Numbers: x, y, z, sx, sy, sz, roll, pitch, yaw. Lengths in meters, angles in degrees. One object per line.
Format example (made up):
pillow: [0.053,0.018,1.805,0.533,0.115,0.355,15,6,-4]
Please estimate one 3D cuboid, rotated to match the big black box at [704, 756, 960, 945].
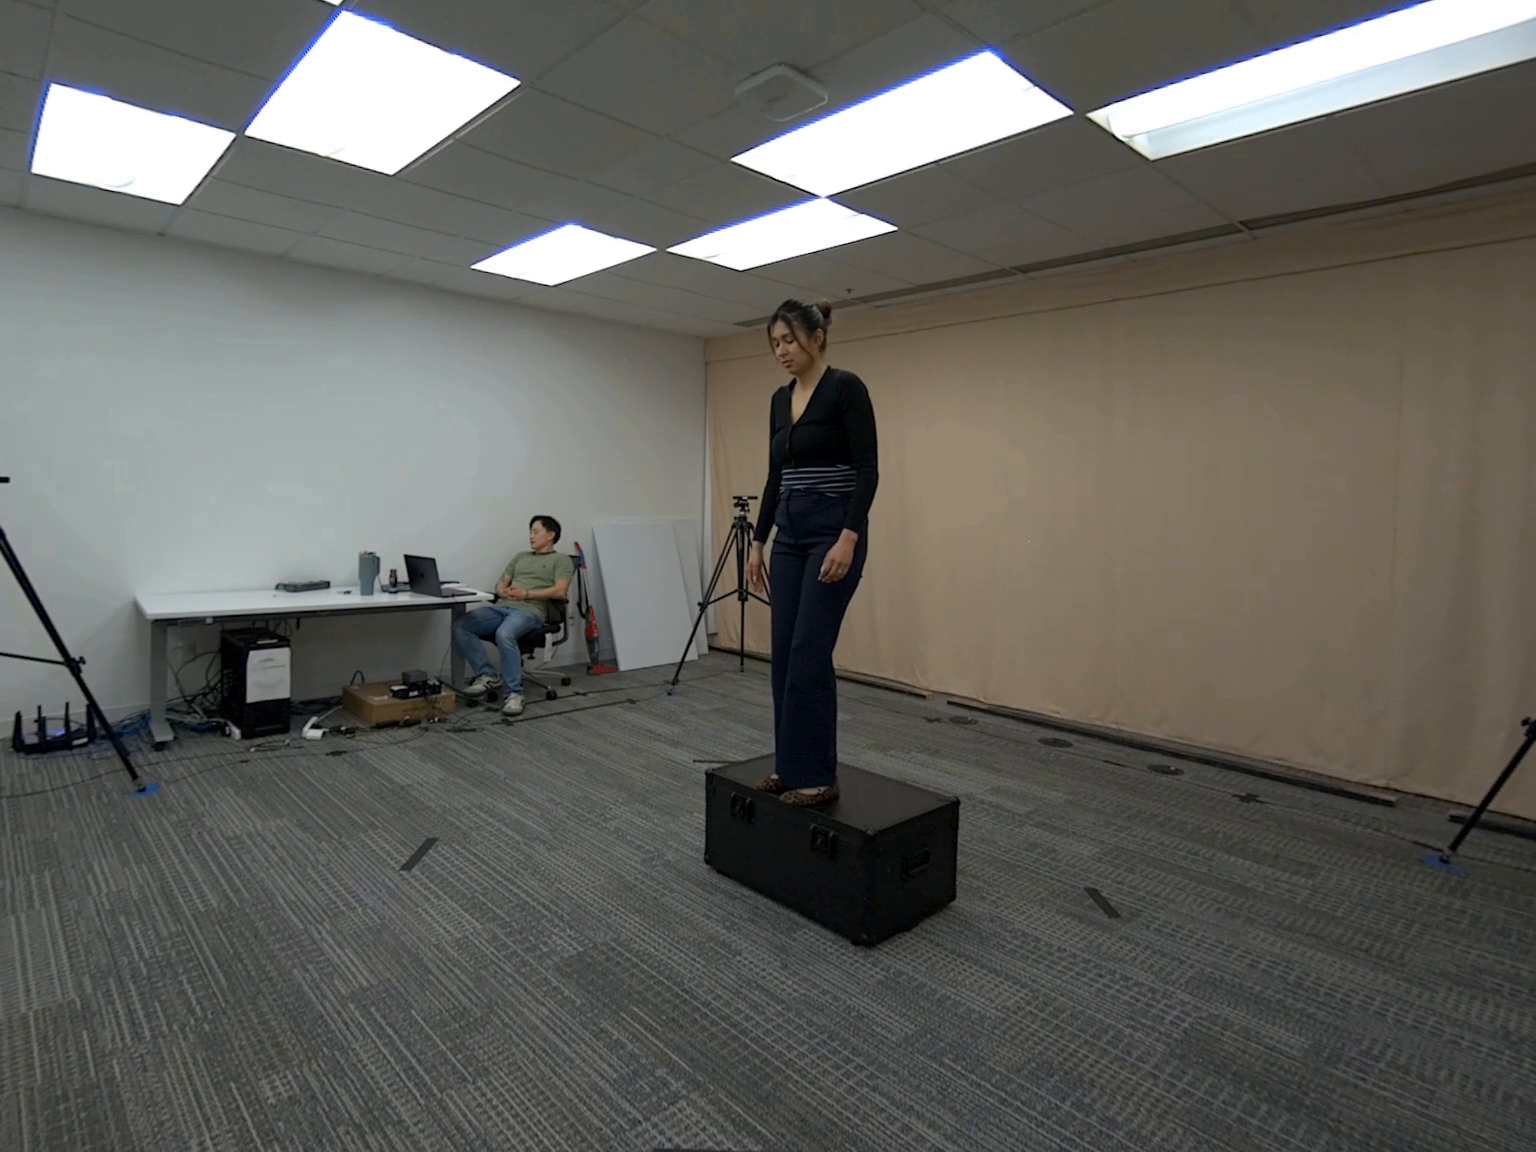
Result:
big black box: [0.218,0.931,2.990,0.509,0.395,0.883,-3,6,-43]
